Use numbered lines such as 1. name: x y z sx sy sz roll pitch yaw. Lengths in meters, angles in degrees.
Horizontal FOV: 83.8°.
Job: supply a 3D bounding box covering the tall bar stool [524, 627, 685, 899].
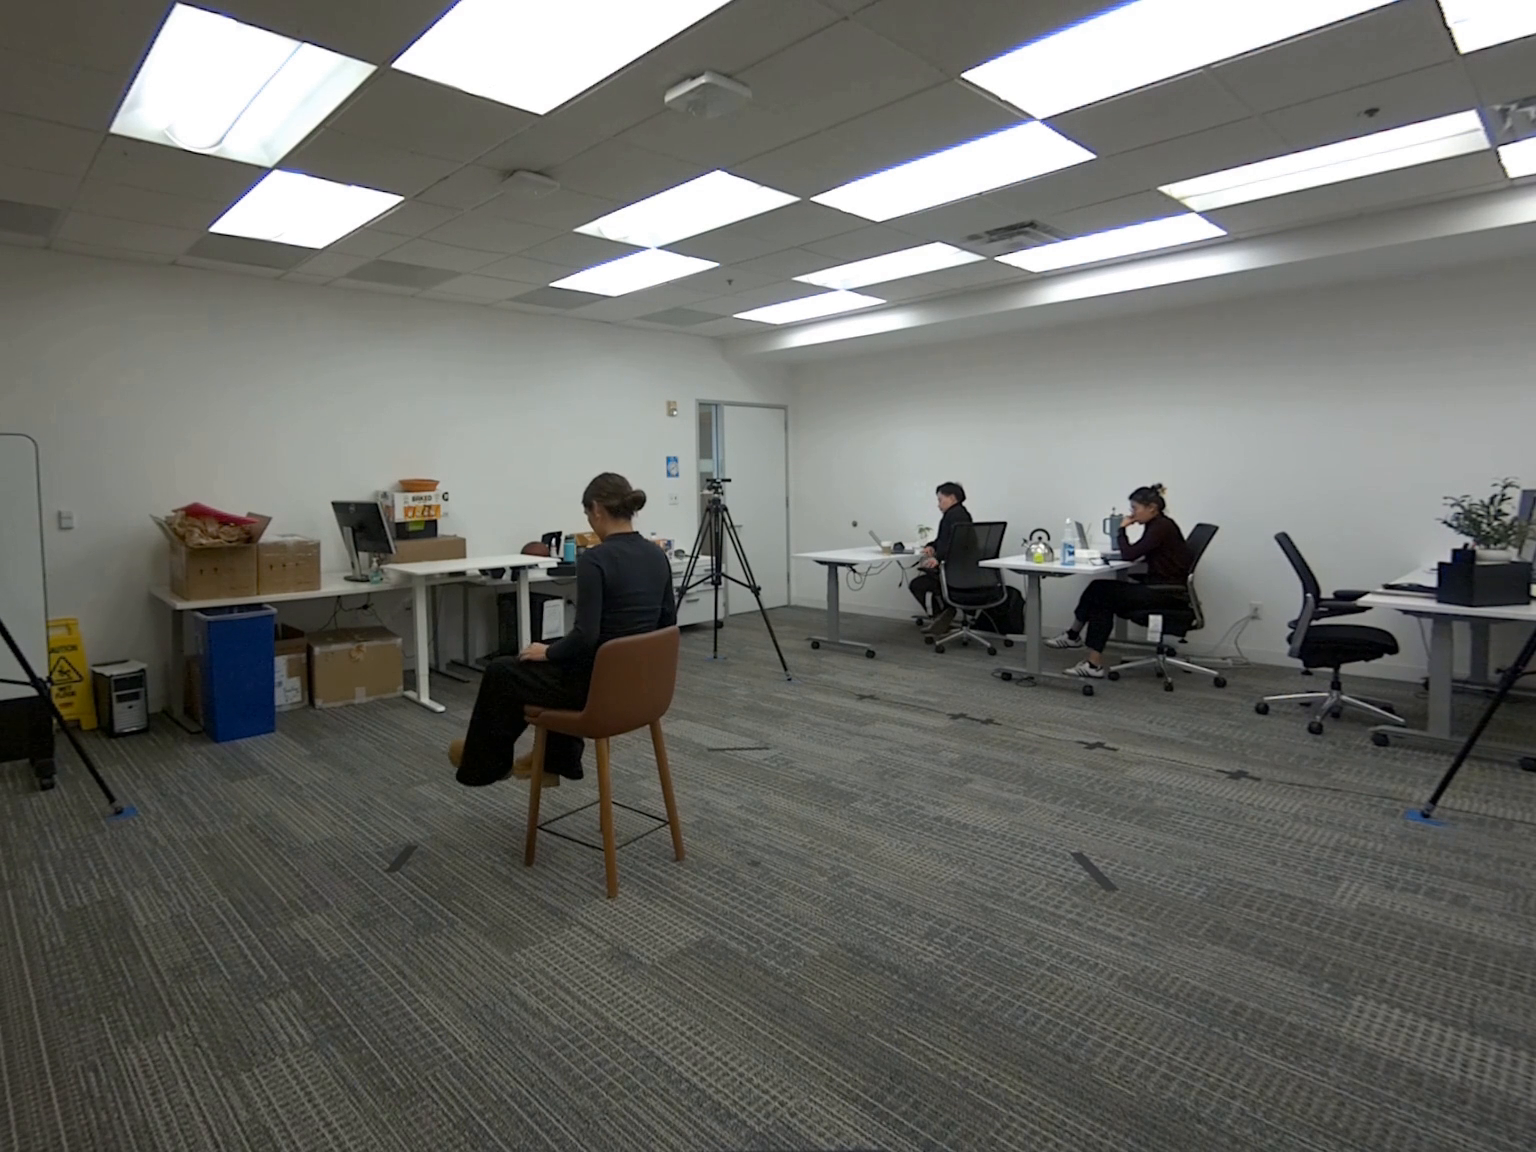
1. tall bar stool: -0.594 0.622 3.110 0.482 0.885 0.445 4 7 37
